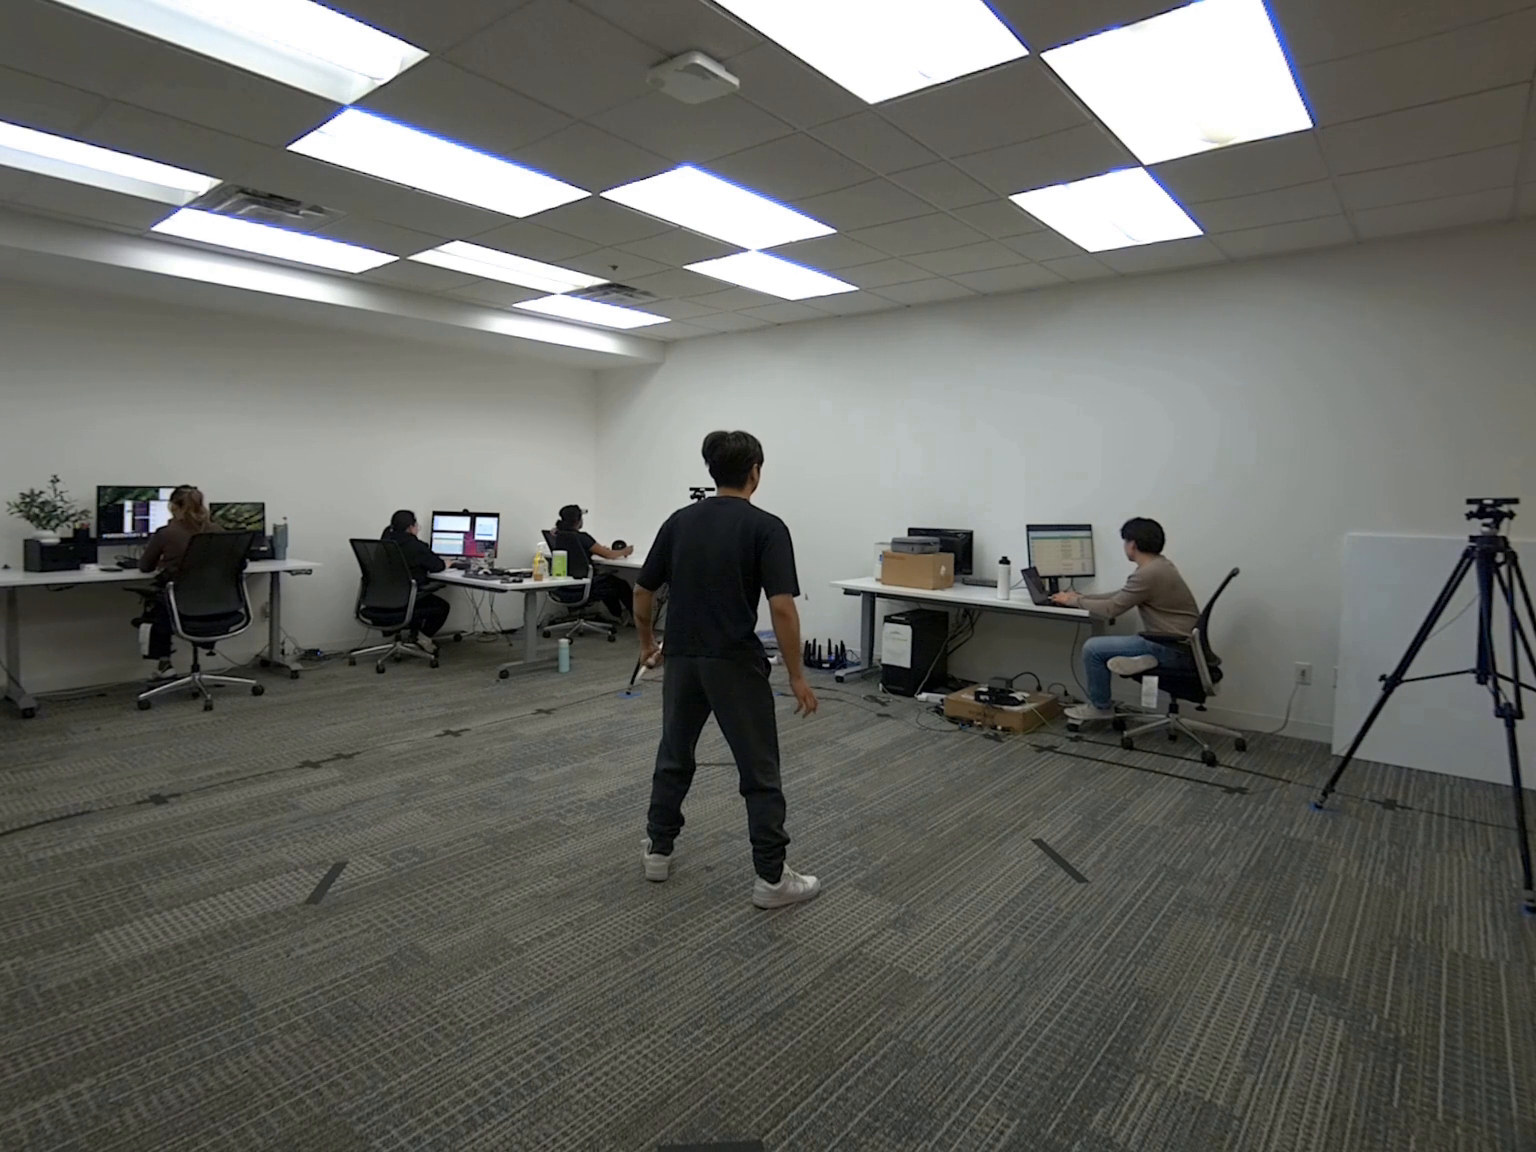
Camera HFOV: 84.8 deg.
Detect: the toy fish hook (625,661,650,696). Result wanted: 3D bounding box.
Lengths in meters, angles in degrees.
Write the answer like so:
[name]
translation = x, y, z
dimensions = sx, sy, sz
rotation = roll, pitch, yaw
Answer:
[toy fish hook]
translation = -0.452, 0.323, 3.283
dimensions = 0.048, 0.224, 0.507
rotation = 36, 3, -3
